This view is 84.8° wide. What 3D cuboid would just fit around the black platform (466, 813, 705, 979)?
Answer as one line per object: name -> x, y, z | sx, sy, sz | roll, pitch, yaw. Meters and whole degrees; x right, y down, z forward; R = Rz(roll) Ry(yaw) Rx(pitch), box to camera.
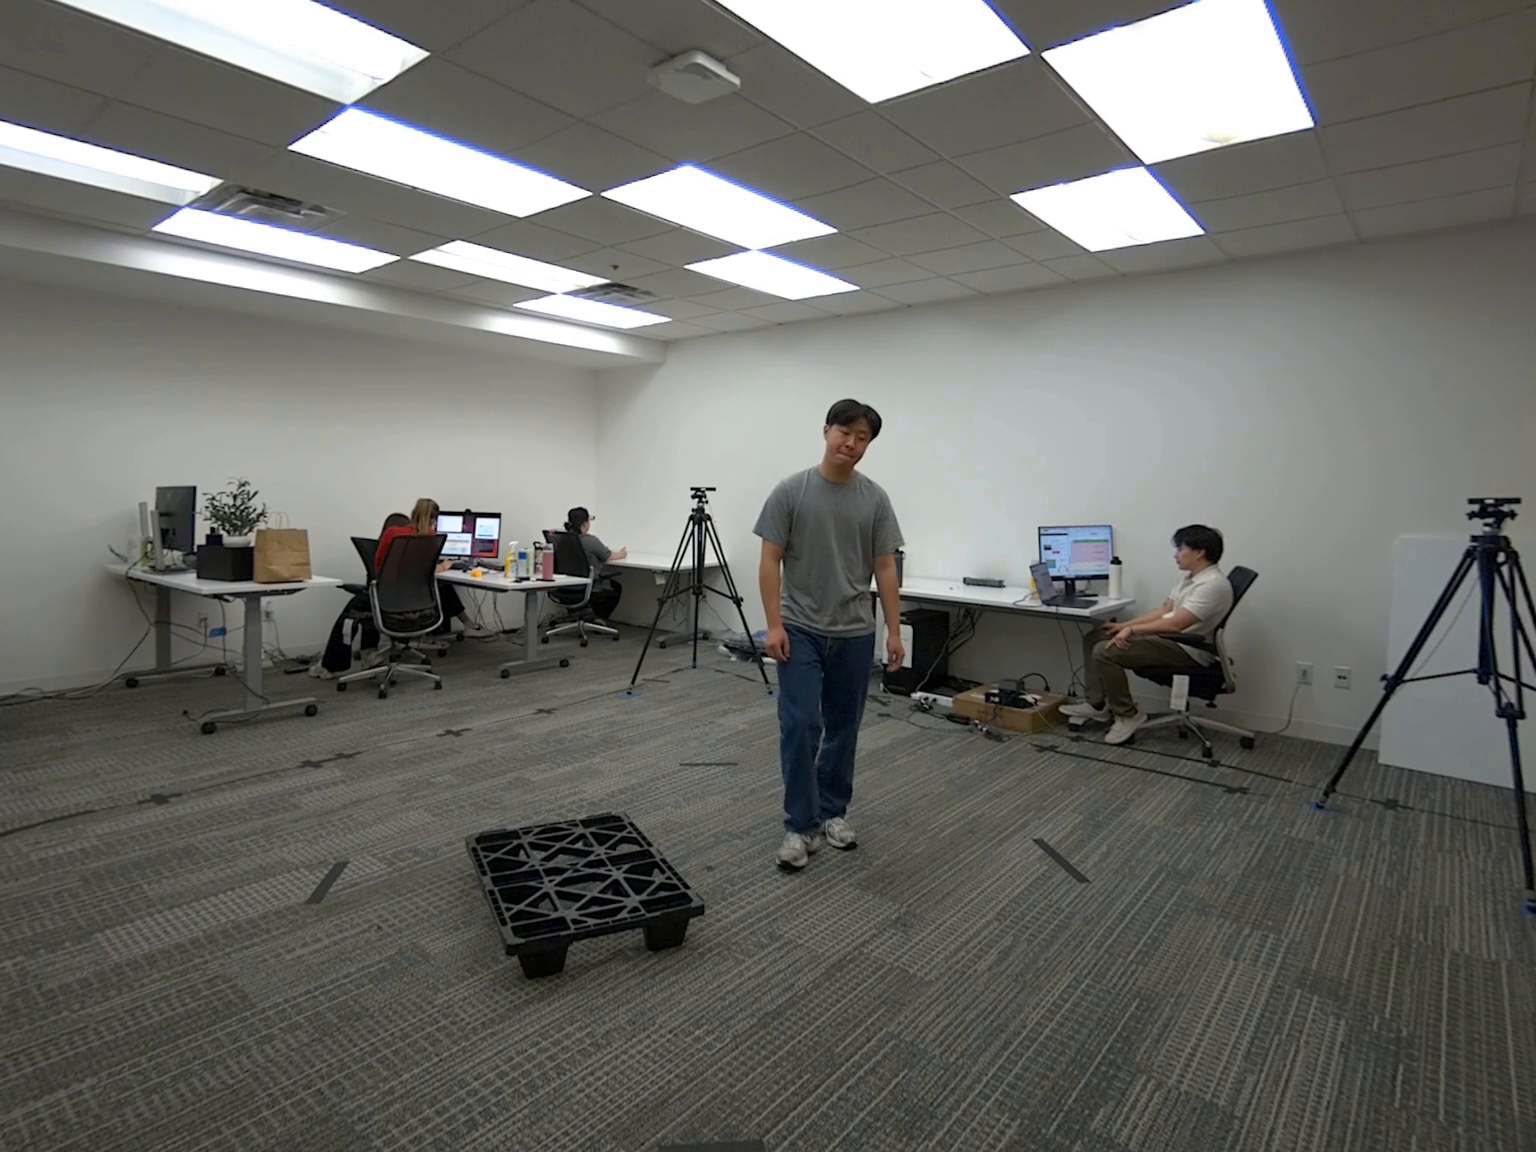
black platform -> -0.642, 1.019, 2.812 | 0.590, 0.143, 0.829 | -2, 7, -26
